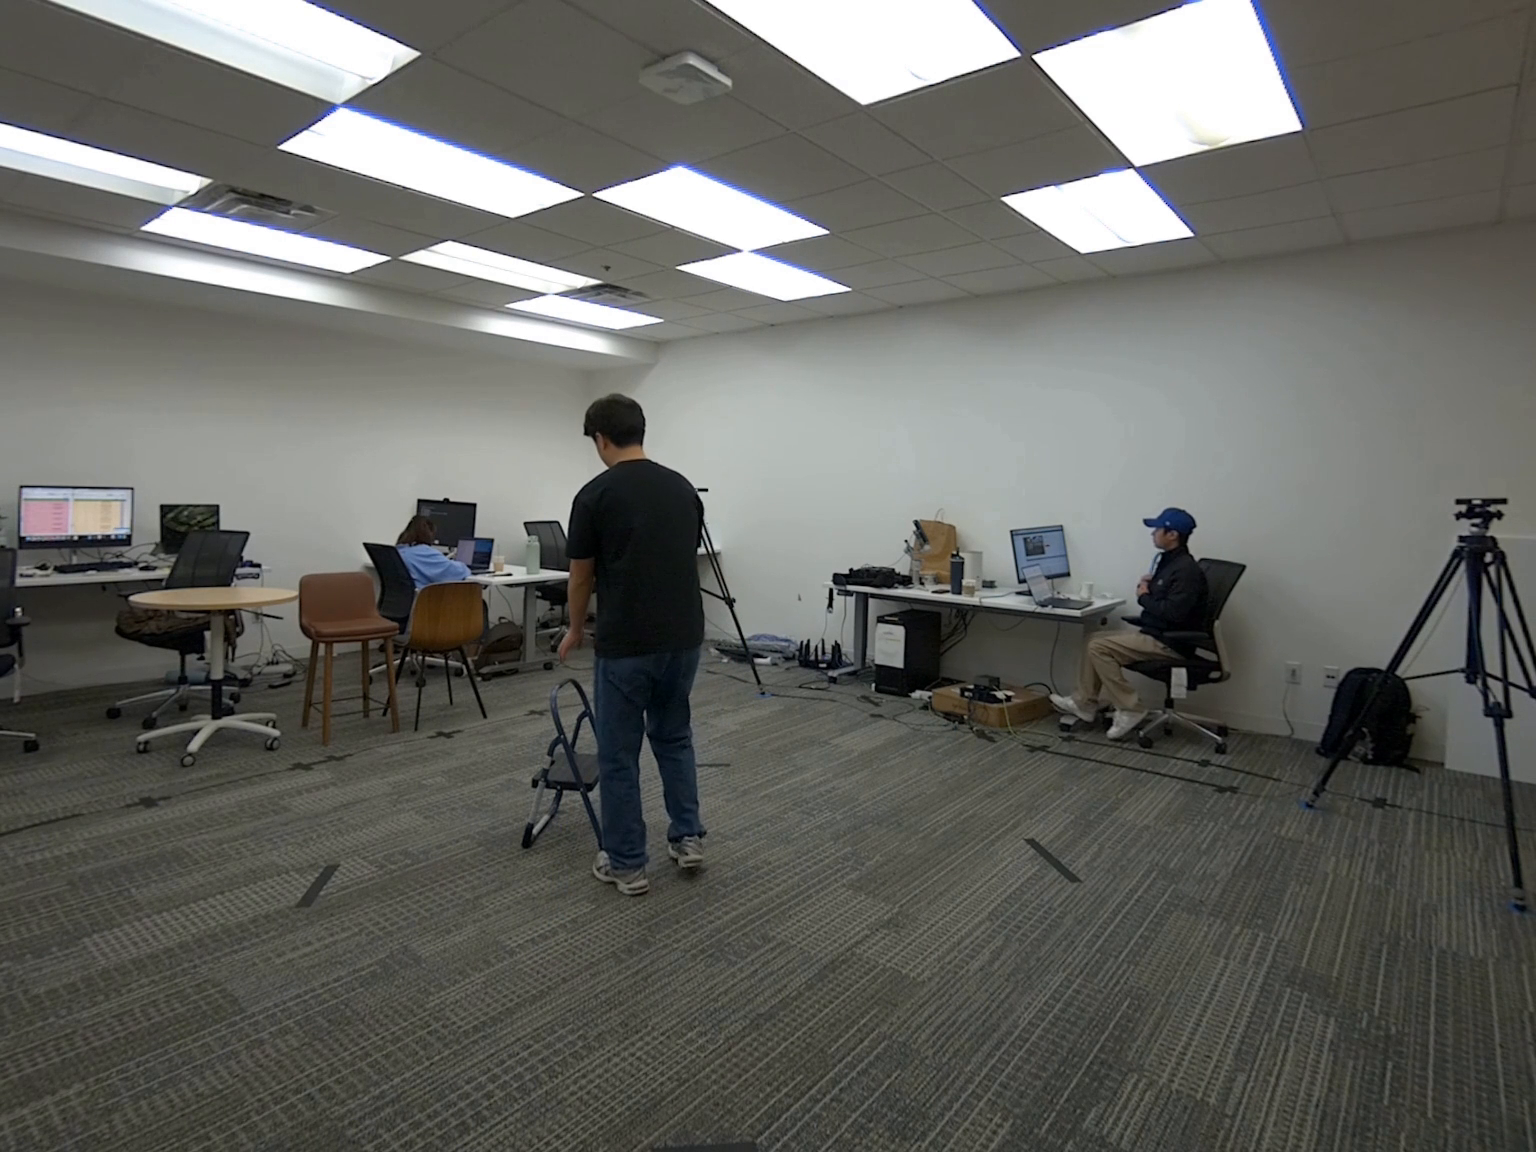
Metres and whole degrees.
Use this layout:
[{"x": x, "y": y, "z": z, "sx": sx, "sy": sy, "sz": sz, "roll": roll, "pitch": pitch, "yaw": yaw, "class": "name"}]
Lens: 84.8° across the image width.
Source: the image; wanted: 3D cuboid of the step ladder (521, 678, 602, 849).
[{"x": -0.774, "y": 0.728, "z": 3.435, "sx": 0.351, "sy": 0.605, "sz": 0.430, "roll": 1, "pitch": 3, "yaw": 2, "class": "step ladder"}]
